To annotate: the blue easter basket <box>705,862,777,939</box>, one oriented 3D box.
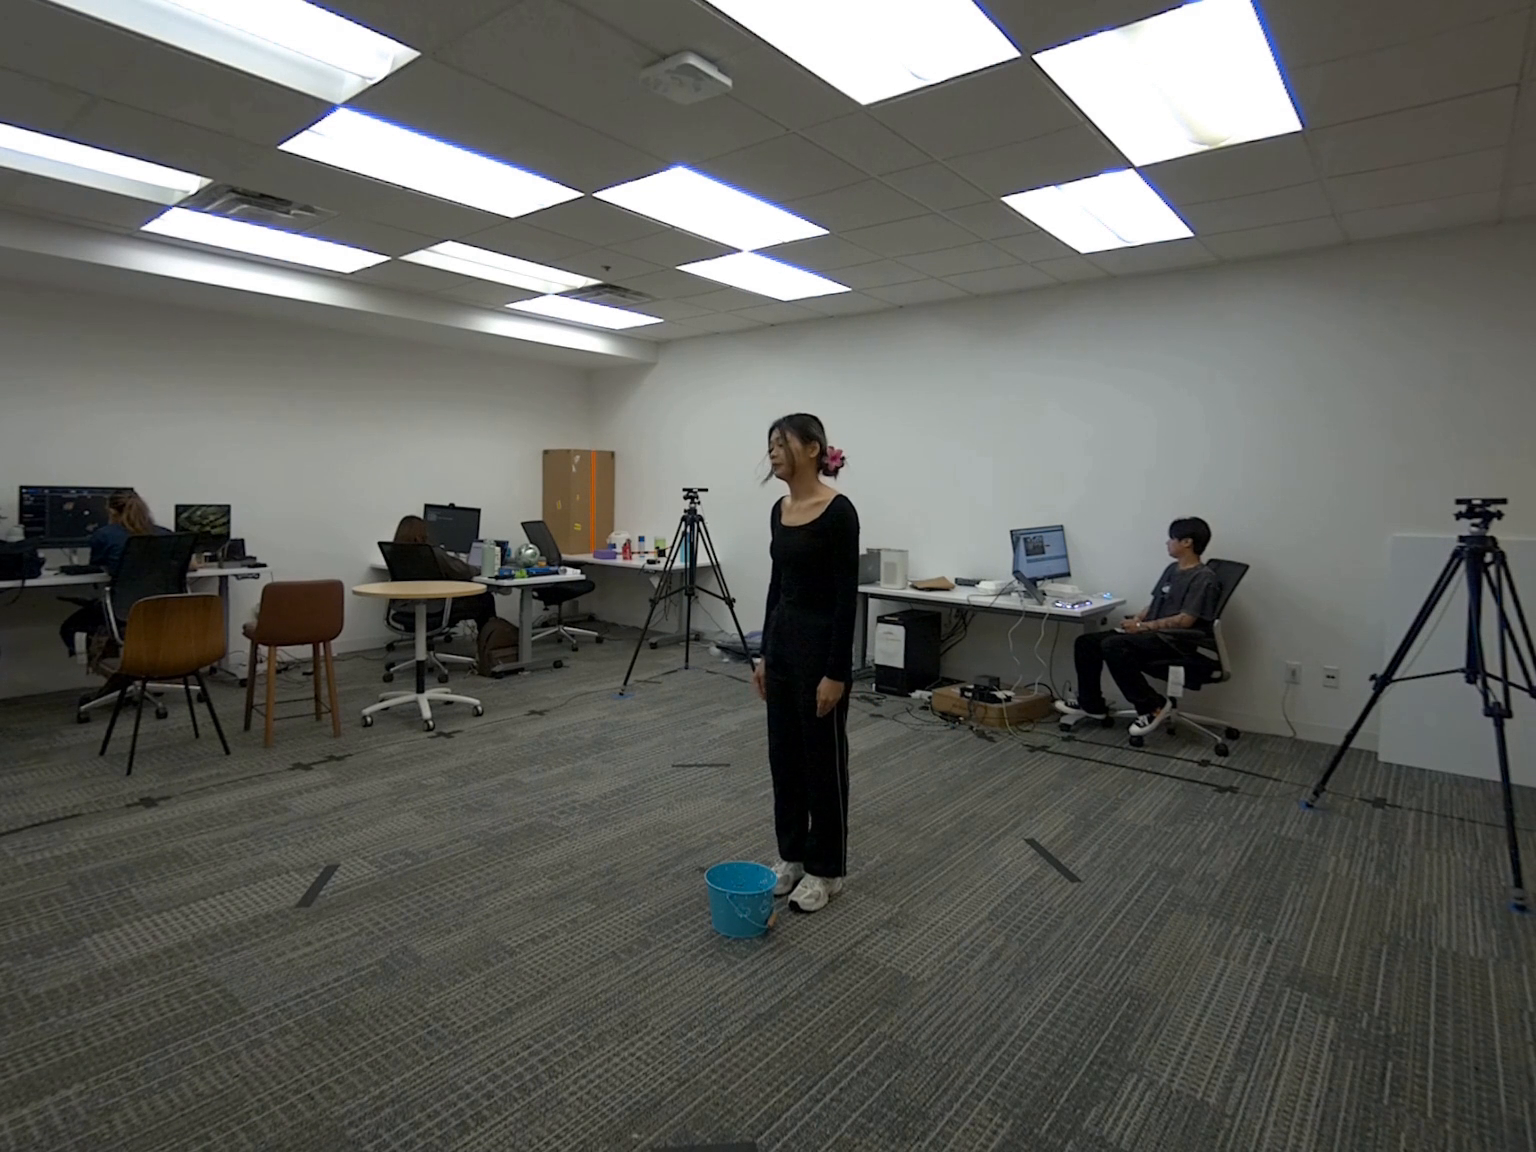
[{"bbox_3d":[-0.096,1.032,2.724,0.243,0.155,0.245,1,5,-2],"label":"blue easter basket"}]
